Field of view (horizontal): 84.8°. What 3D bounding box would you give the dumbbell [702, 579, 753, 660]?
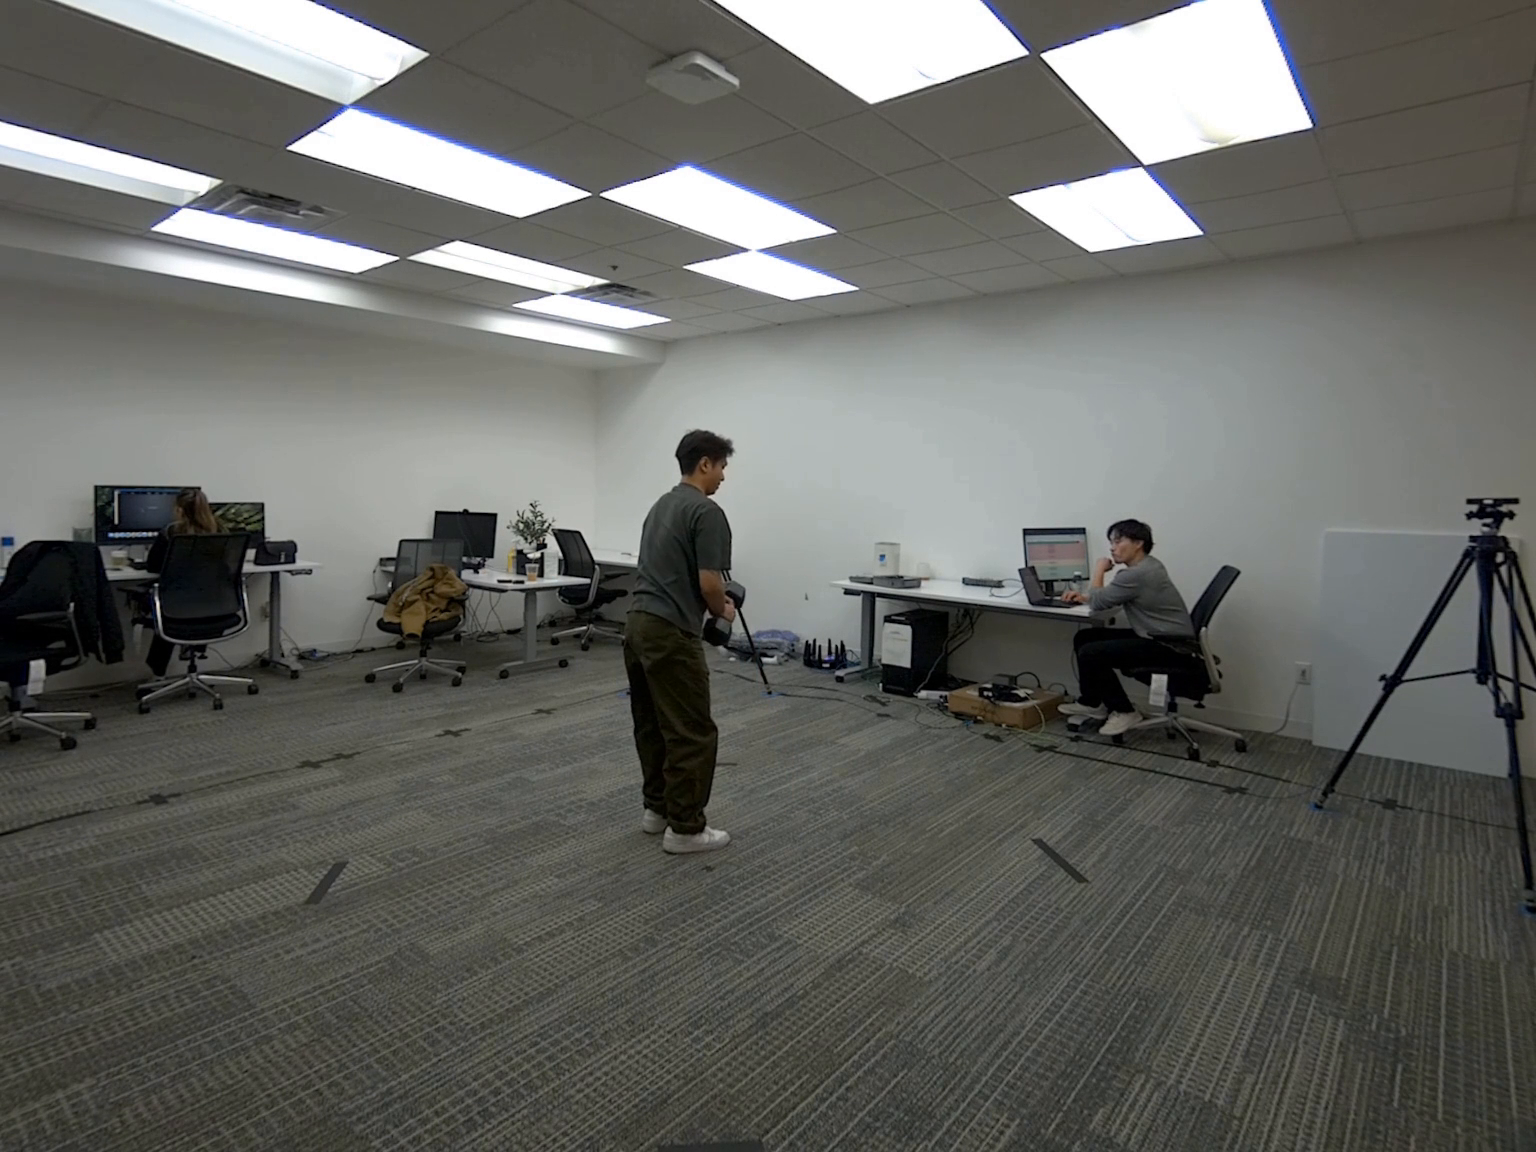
[{"bbox_3d":[-0.193,0.160,3.537,0.110,0.119,0.297,12,45,10],"label":"dumbbell"}]
